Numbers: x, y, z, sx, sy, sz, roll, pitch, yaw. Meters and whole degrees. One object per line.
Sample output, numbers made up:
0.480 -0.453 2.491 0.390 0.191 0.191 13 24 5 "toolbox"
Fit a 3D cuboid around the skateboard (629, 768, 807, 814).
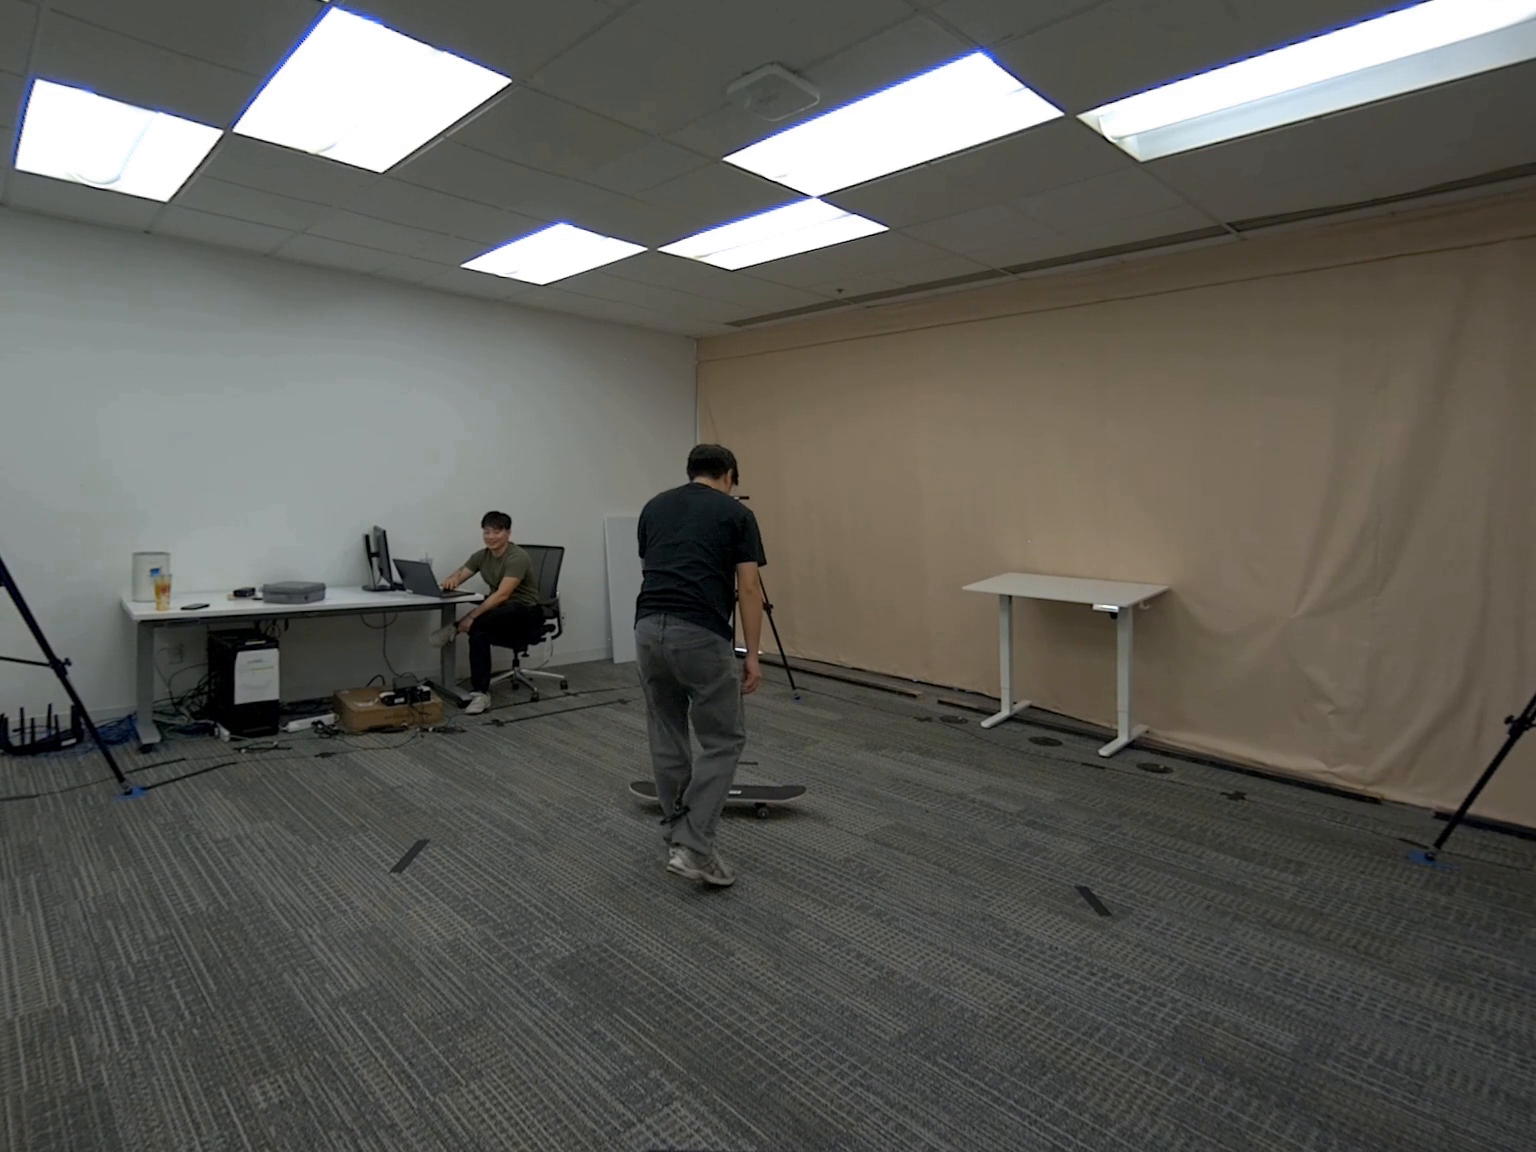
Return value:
-0.227 0.984 3.738 0.786 0.110 0.194 1 5 0 "skateboard"
